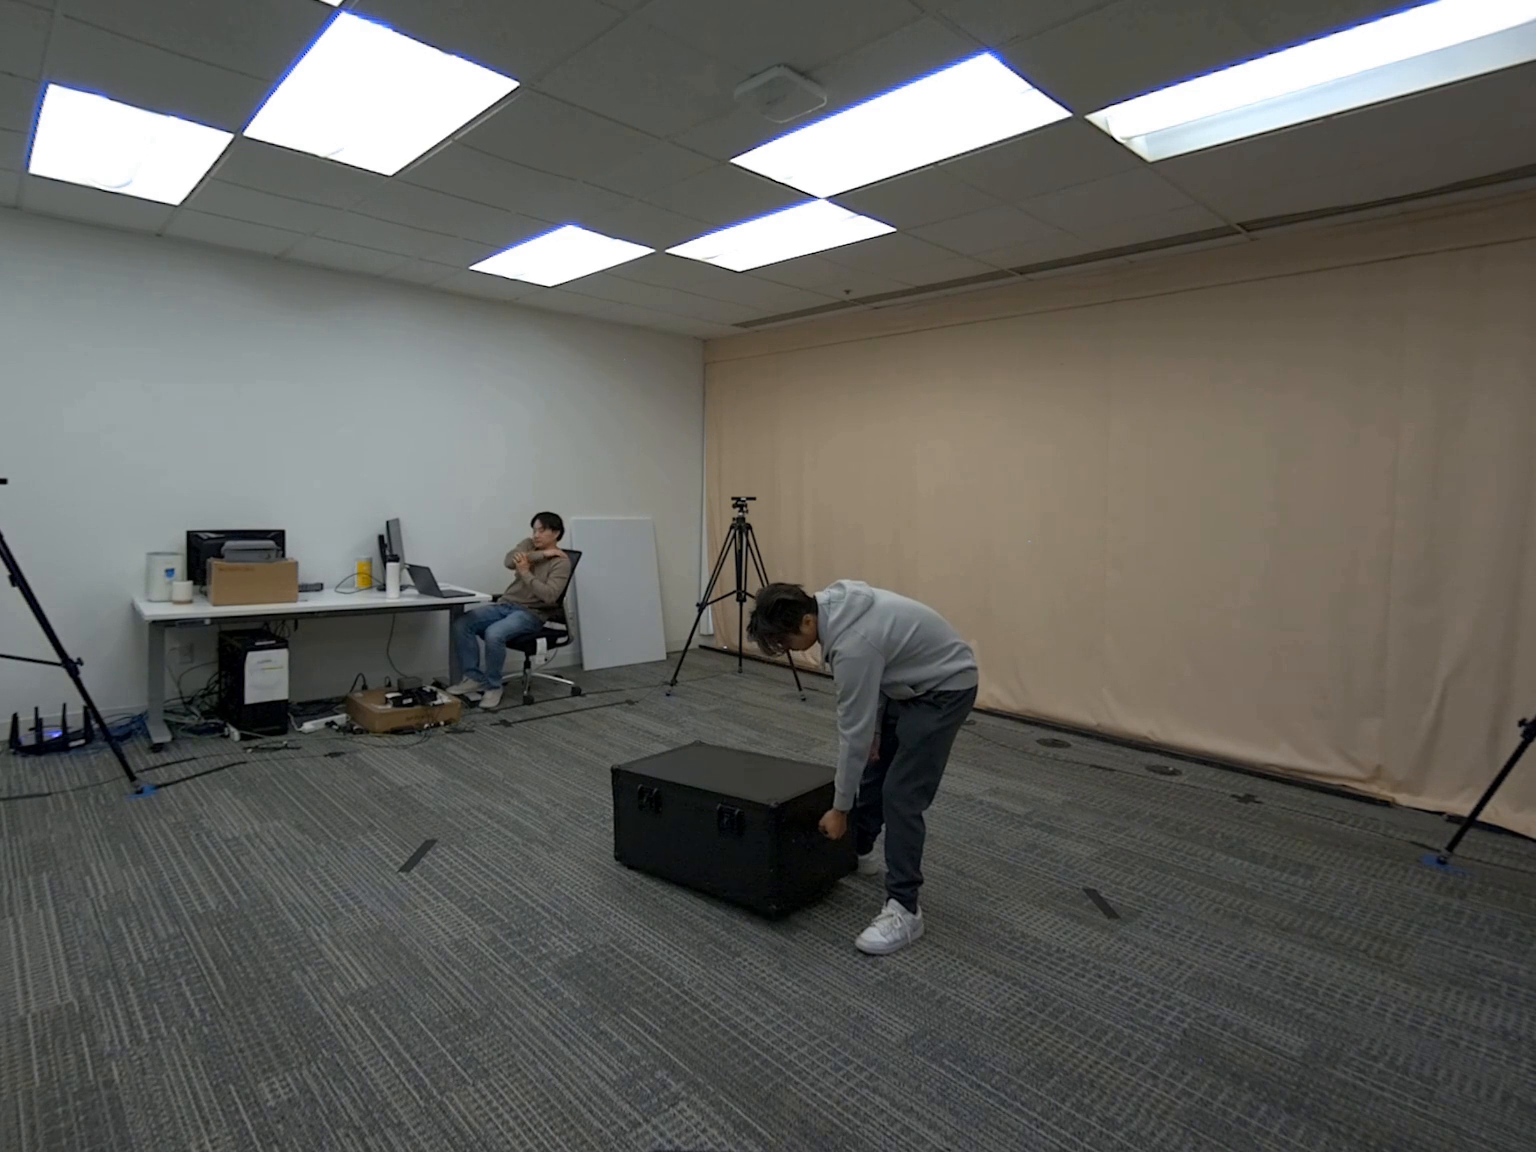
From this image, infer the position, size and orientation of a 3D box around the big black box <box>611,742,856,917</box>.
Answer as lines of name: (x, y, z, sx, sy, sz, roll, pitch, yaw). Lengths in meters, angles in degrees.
big black box: (-0.165, 0.899, 3.127, 0.882, 0.395, 0.510, 2, 4, 40)
